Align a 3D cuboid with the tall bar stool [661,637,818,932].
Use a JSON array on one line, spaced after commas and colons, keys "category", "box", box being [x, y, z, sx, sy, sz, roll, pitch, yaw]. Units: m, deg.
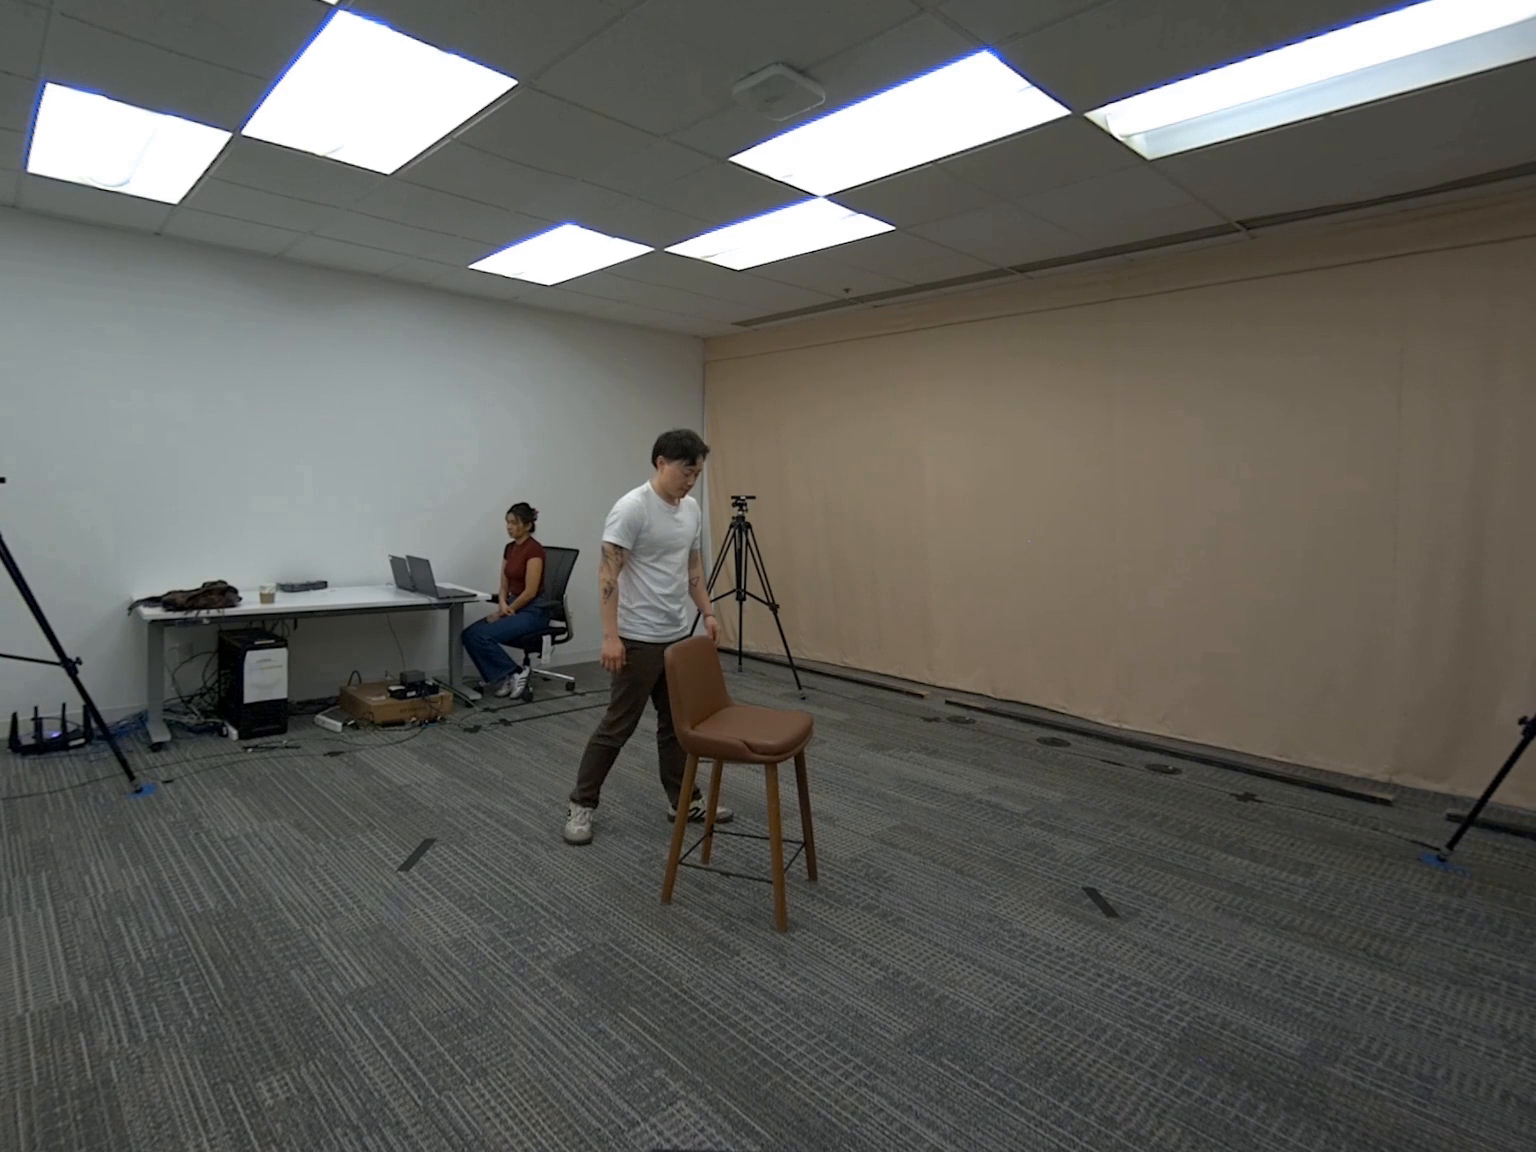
[{"category": "tall bar stool", "box": [-0.098, 0.684, 2.945, 0.475, 0.888, 0.450, 1, 3, 21]}]
